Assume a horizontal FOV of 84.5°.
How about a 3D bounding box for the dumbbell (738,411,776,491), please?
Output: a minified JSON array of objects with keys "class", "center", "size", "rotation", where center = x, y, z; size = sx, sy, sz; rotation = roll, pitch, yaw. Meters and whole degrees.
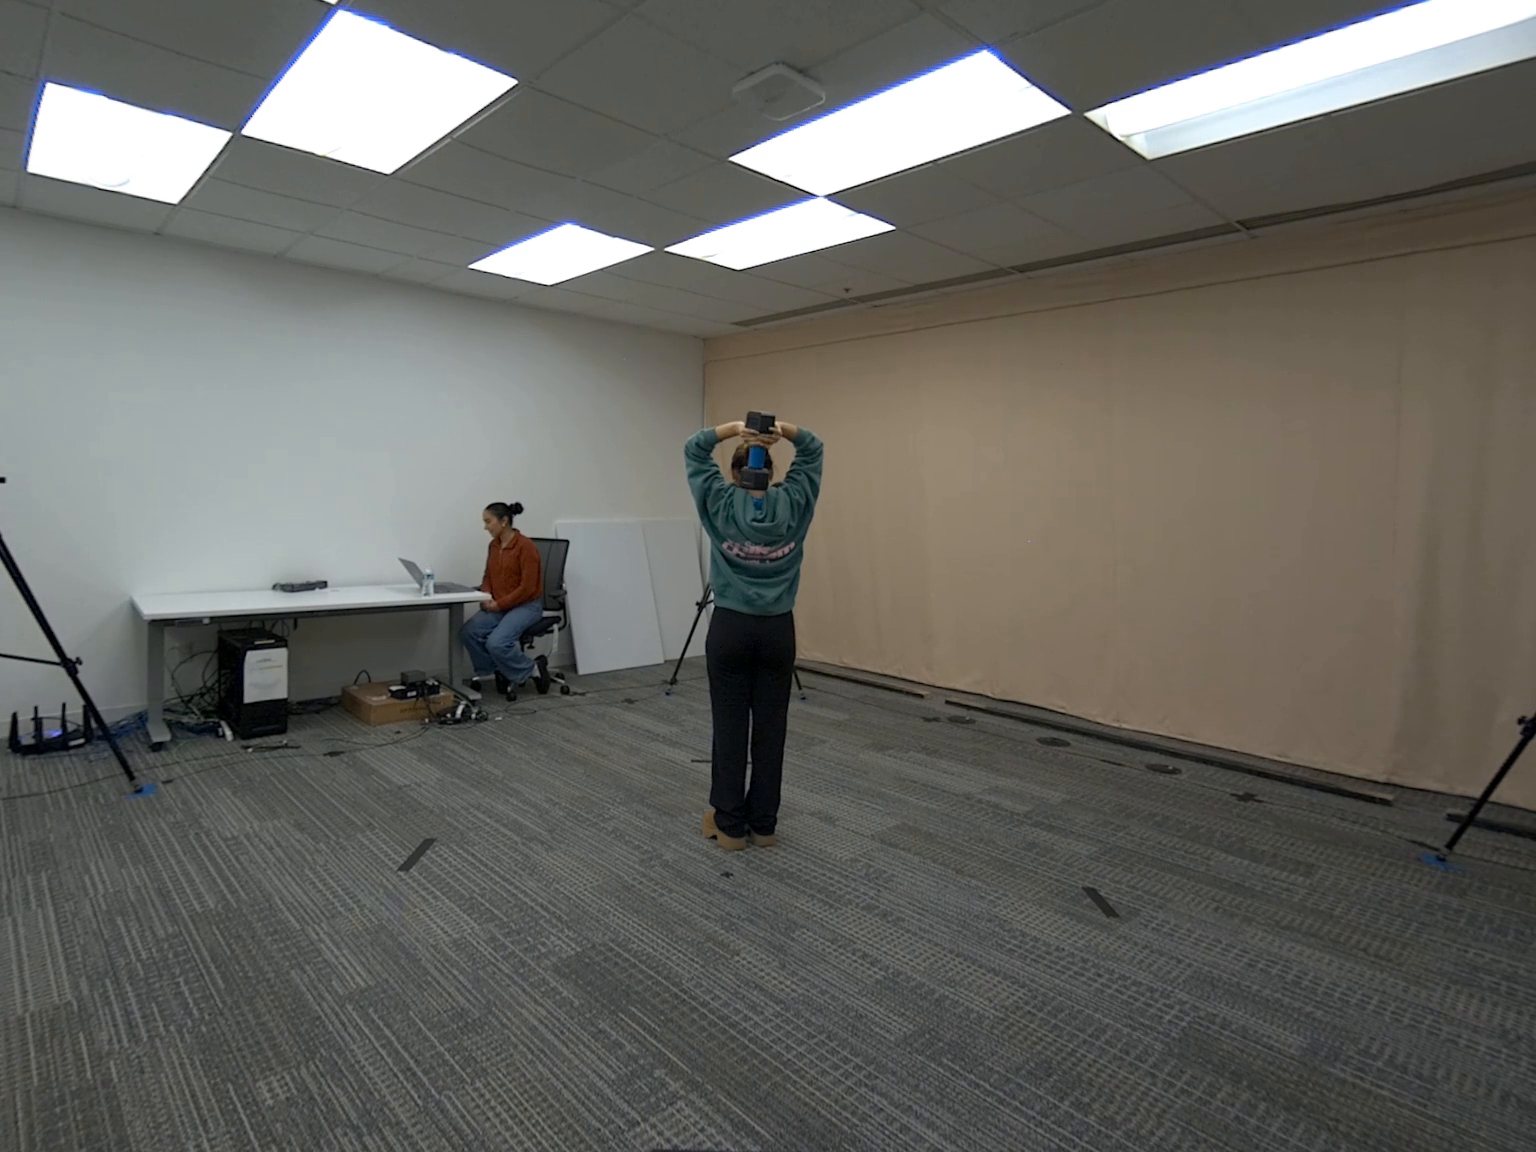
[{"class":"dumbbell","center":[-0.052,-0.474,3.168],"size":[0.109,0.292,0.123],"rotation":[6,9,2]}]
